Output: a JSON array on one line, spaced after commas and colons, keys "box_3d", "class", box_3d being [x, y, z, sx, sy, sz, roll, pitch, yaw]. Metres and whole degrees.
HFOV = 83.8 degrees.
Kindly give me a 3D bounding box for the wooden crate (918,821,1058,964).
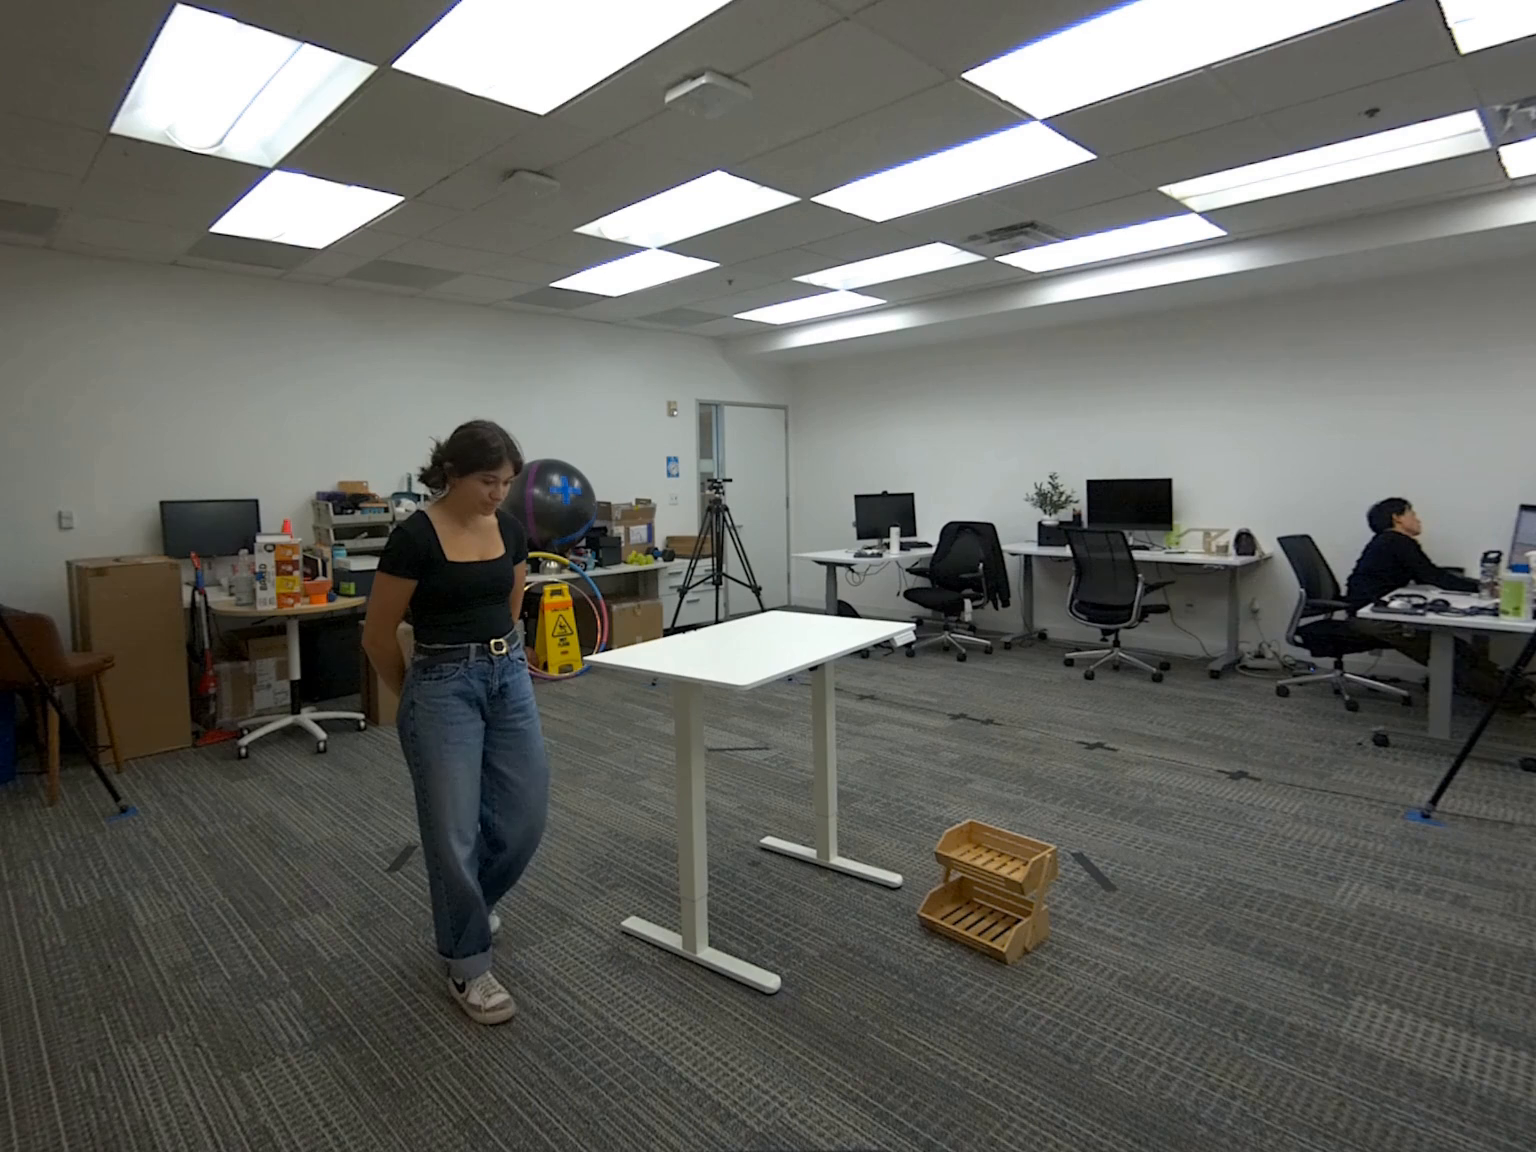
[{"box_3d": [0.678, 0.955, 2.621, 0.294, 0.272, 0.334, -5, 6, -43], "class": "wooden crate"}]
